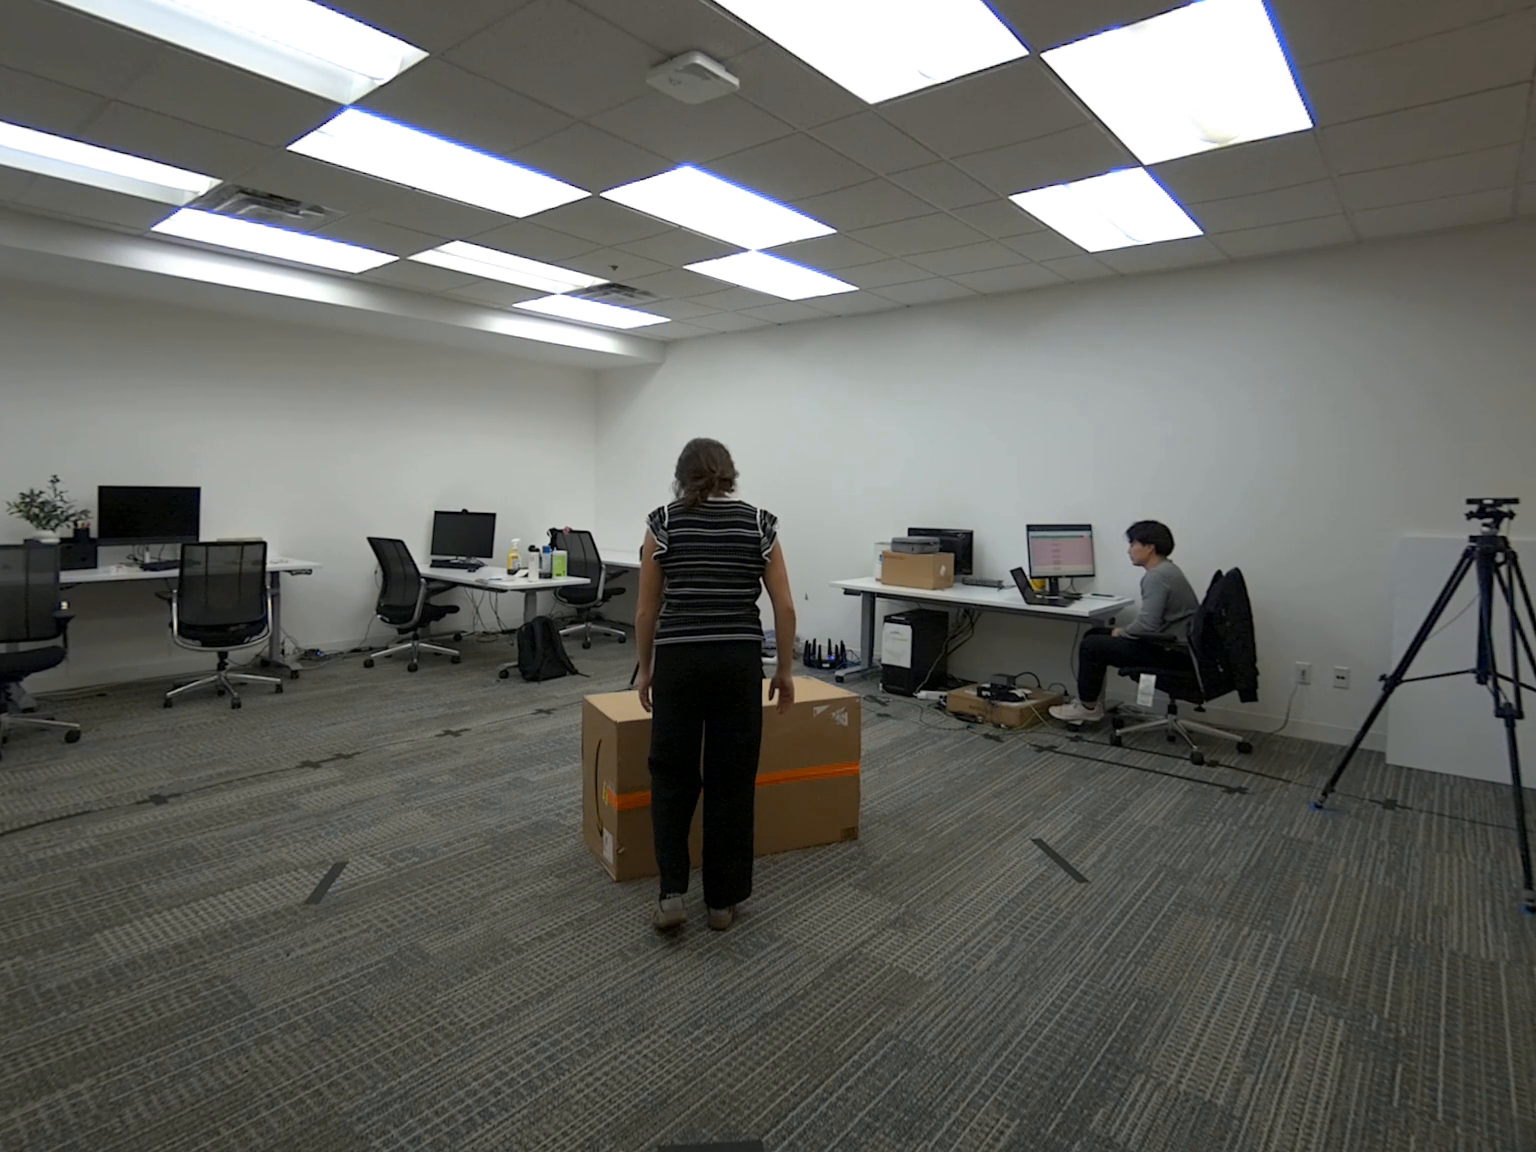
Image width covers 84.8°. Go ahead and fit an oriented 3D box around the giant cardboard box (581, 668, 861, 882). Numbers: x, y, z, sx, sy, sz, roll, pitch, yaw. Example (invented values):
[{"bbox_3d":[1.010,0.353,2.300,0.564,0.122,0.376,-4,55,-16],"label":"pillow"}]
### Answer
[{"bbox_3d":[-0.192,0.754,3.369,1.001,0.576,0.438,-1,4,-26],"label":"giant cardboard box"}]
